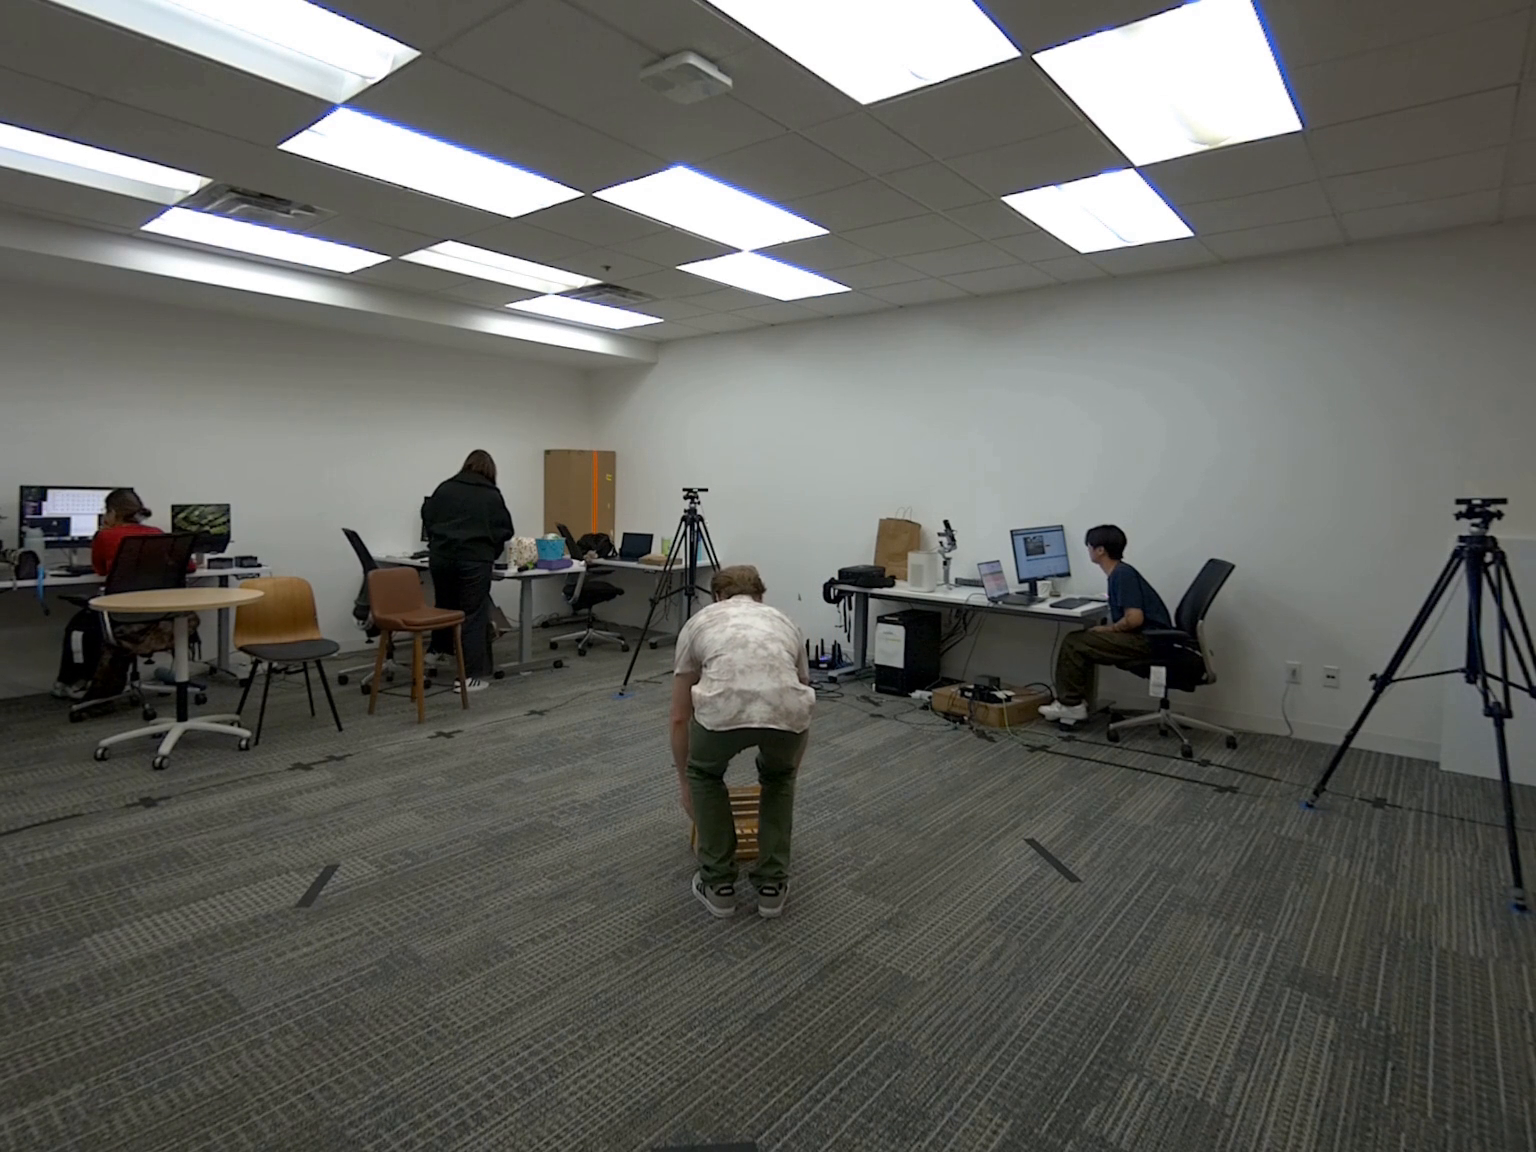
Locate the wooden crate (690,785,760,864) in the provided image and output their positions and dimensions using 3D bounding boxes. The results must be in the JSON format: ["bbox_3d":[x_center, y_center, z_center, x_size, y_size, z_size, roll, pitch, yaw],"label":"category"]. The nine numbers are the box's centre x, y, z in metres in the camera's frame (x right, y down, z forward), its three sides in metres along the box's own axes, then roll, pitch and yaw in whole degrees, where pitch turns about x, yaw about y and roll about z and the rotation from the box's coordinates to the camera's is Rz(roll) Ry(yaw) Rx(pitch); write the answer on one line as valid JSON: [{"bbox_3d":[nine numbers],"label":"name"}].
[{"bbox_3d":[-0.144,0.917,3.304,0.320,0.272,0.307,0,5,-13],"label":"wooden crate"}]
